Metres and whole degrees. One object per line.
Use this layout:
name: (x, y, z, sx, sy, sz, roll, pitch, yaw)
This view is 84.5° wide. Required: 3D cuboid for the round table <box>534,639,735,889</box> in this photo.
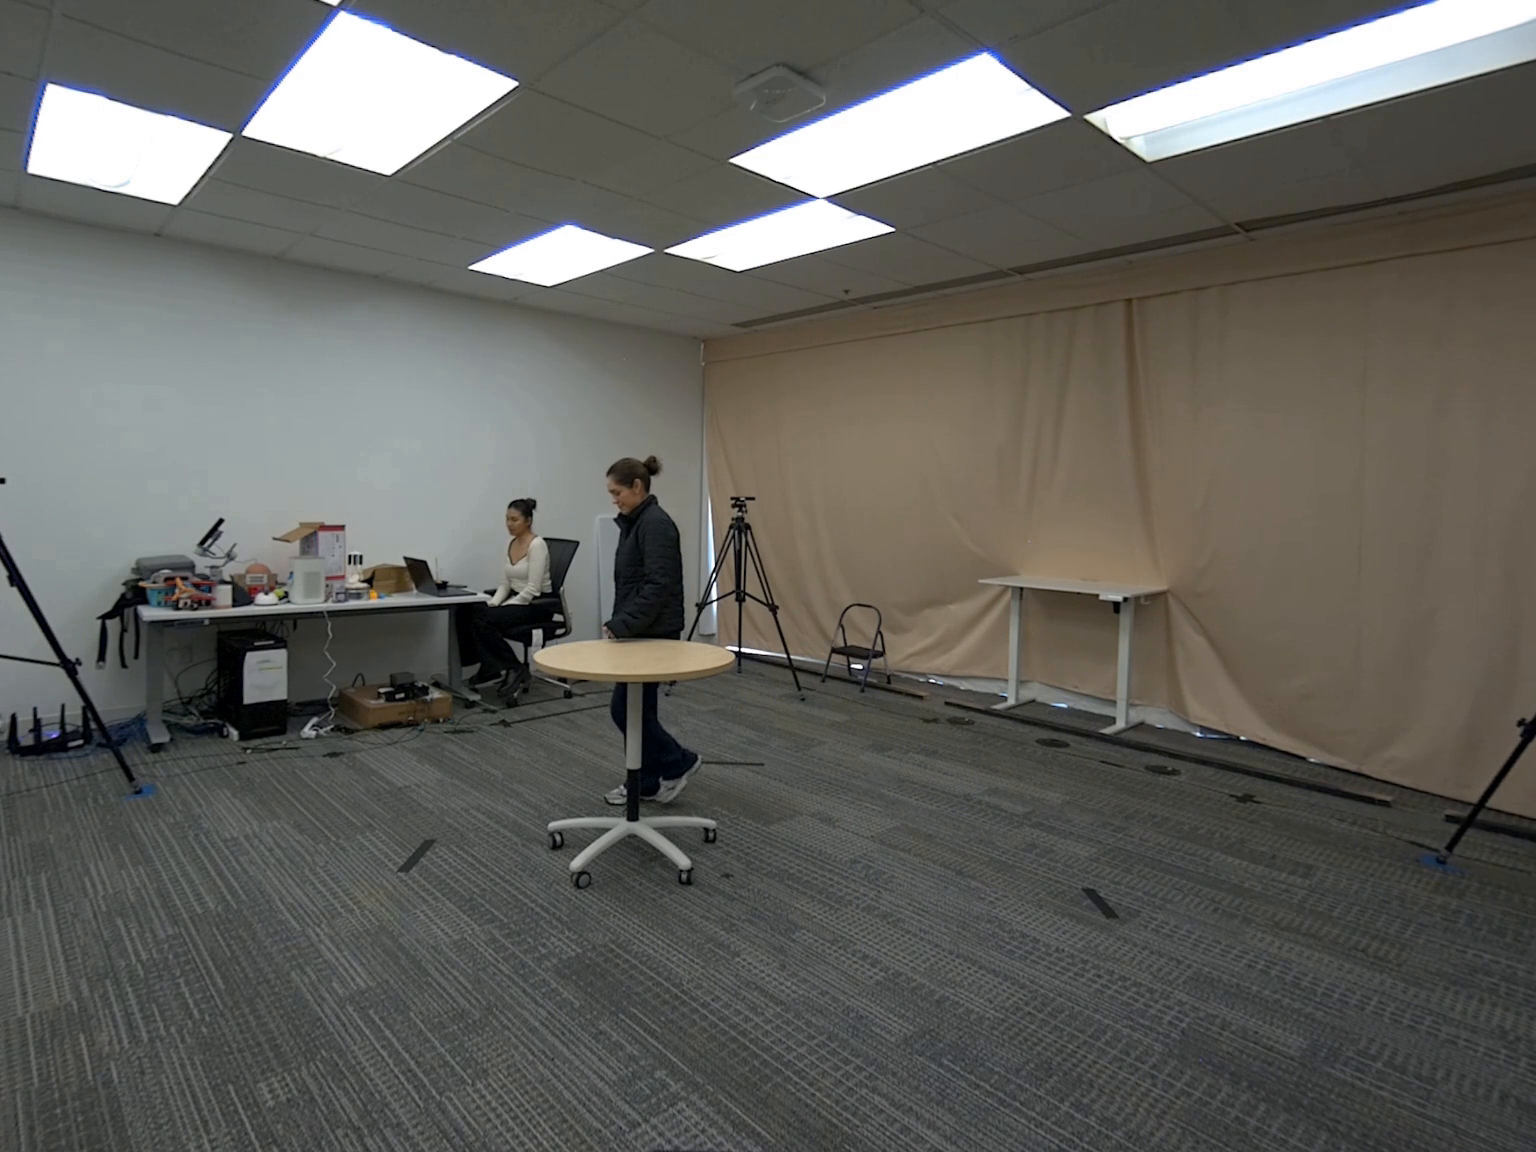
round table: (-0.516, 0.695, 3.213, 0.784, 0.785, 0.787, 1, 3, -1)
